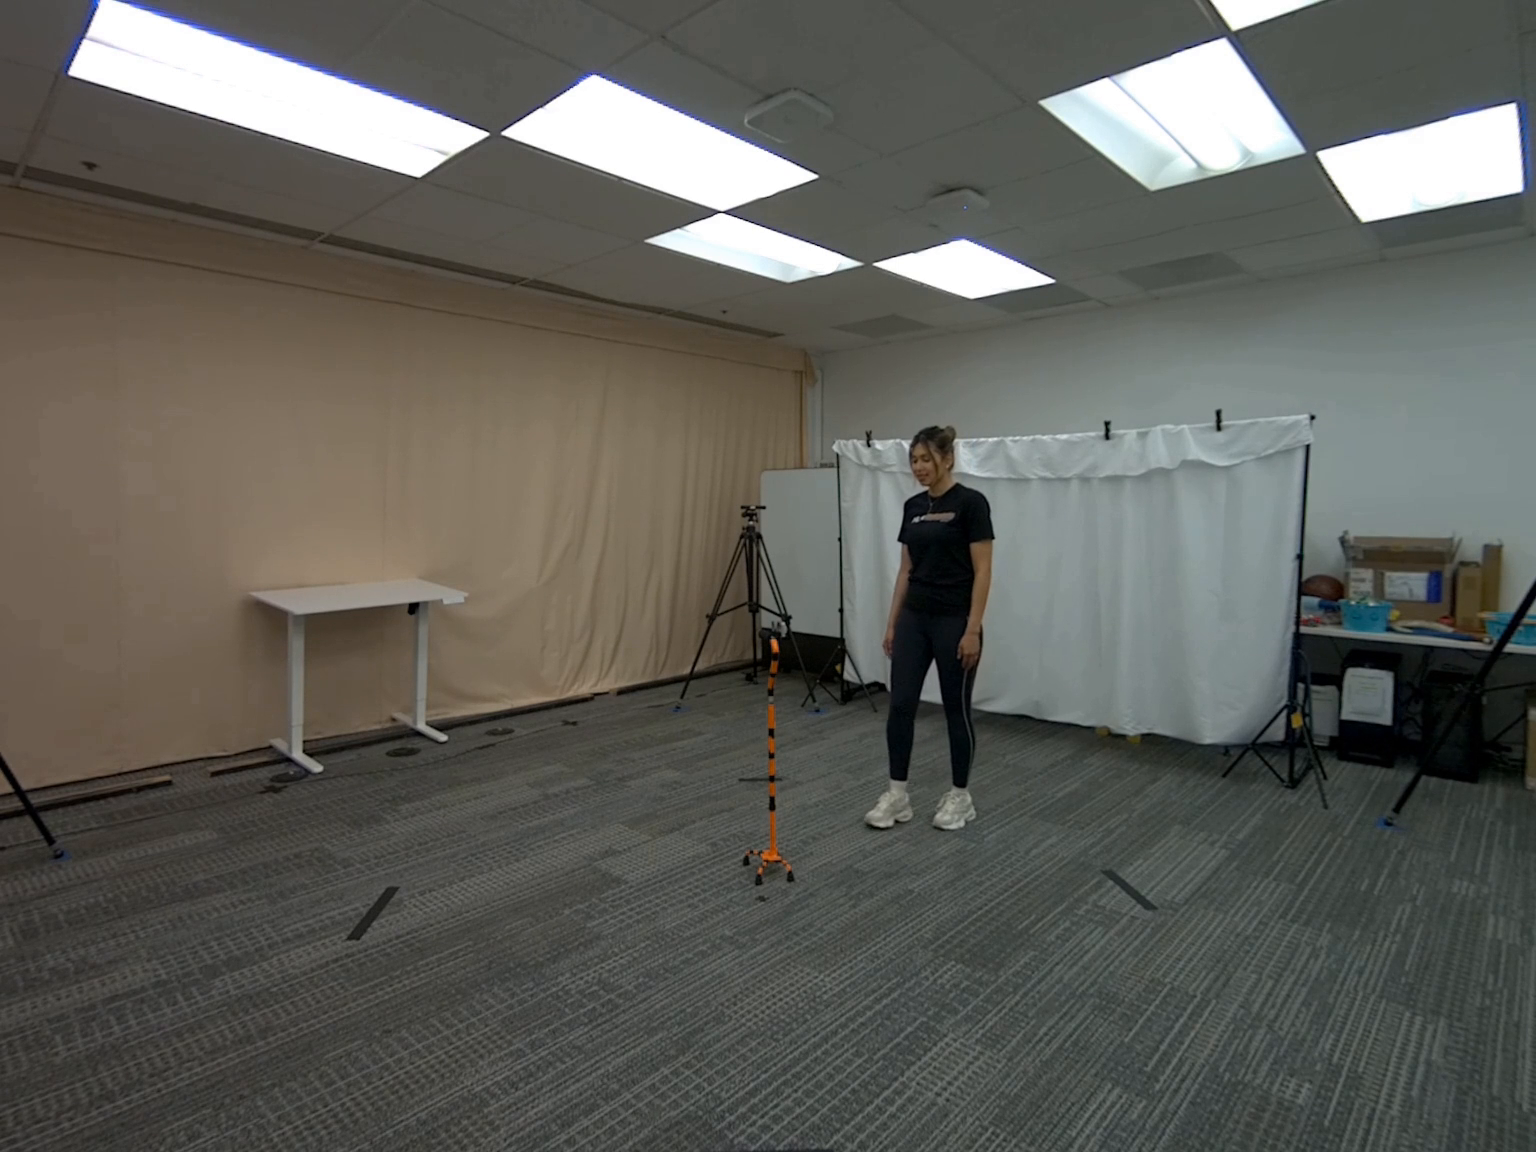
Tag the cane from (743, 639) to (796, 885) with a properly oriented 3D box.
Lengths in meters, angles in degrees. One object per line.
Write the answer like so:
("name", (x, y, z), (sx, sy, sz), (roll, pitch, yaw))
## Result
("cane", (0.002, 0.675, 3.177), (0.149, 0.906, 0.210), (-1, 3, -17))
